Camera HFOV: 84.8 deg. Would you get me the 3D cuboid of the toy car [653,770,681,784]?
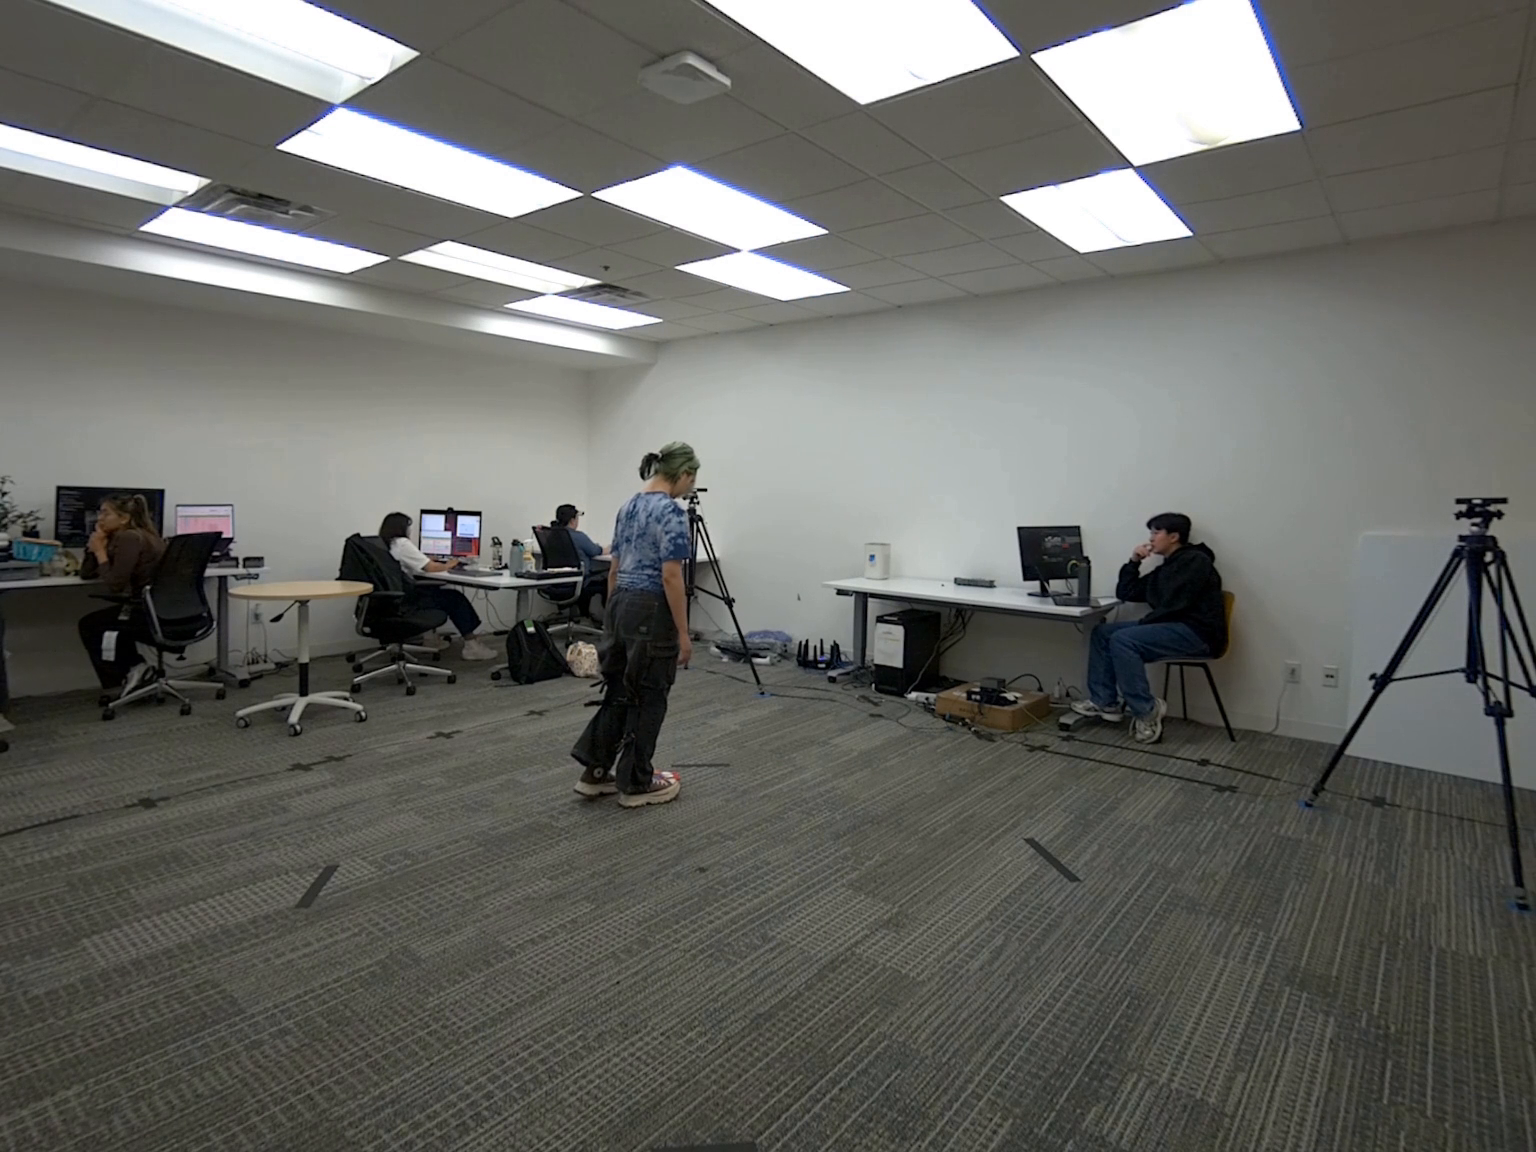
[{"bbox_3d":[-0.547,0.944,3.969,0.251,0.083,0.132,9,2,-11],"label":"toy car"}]
